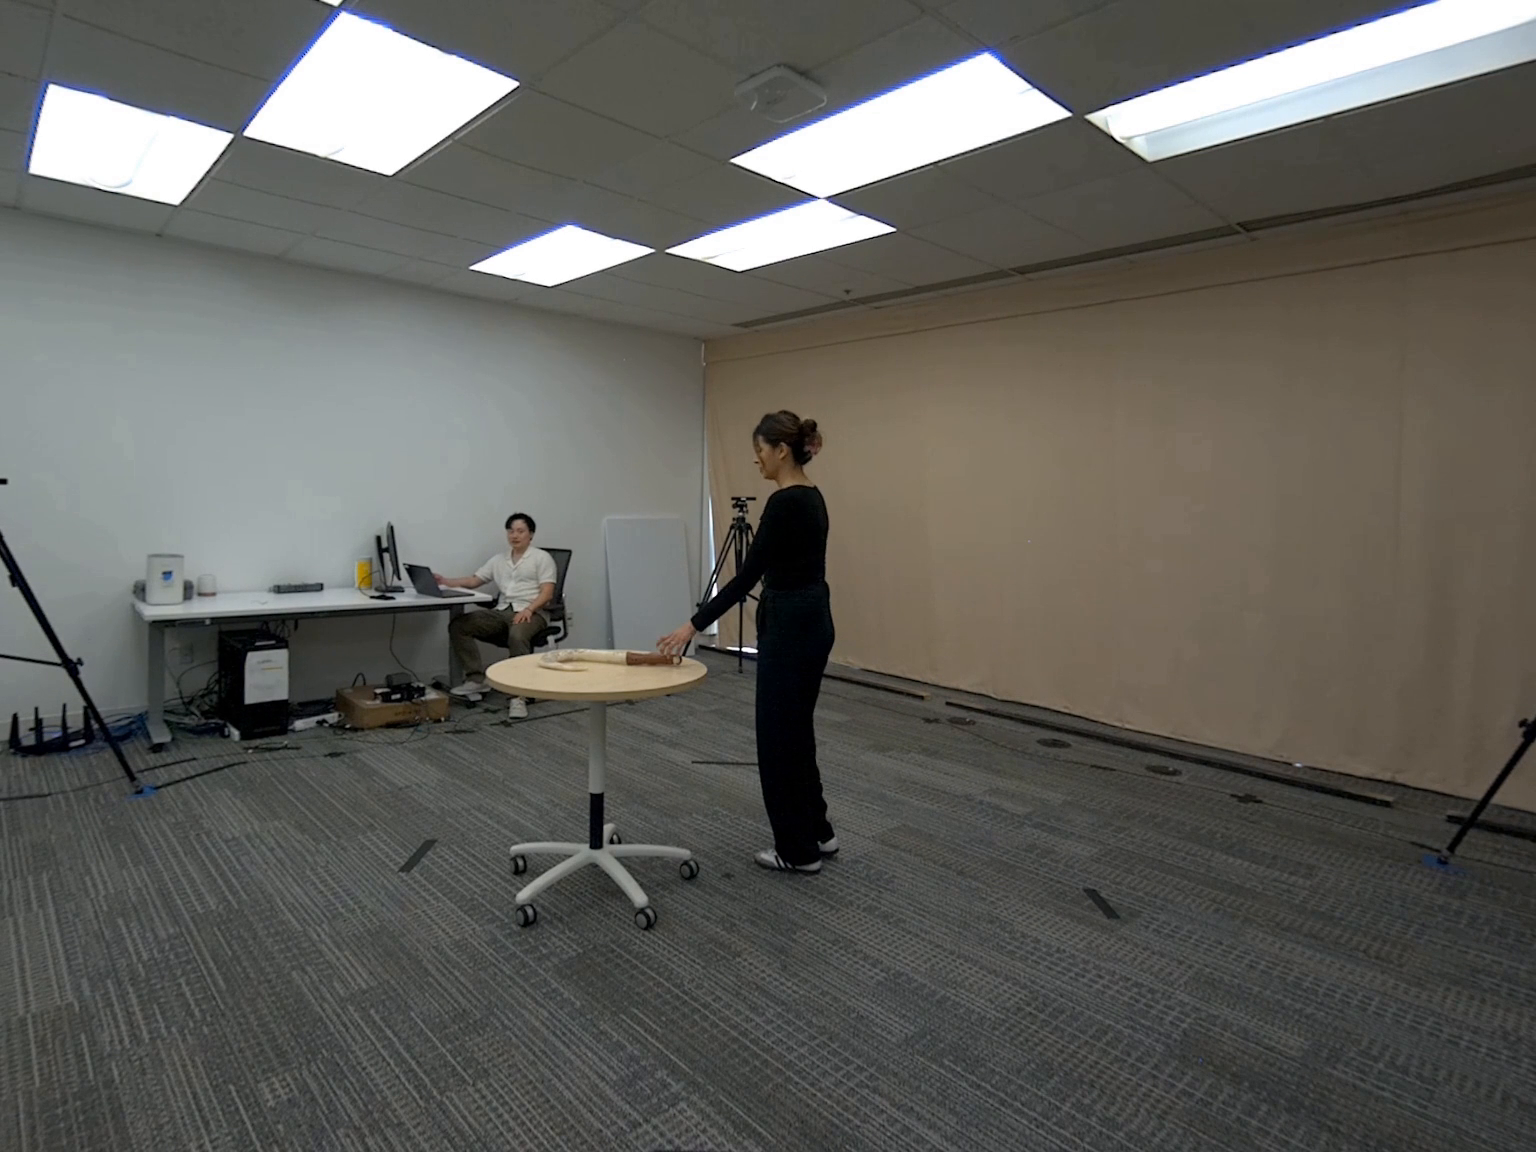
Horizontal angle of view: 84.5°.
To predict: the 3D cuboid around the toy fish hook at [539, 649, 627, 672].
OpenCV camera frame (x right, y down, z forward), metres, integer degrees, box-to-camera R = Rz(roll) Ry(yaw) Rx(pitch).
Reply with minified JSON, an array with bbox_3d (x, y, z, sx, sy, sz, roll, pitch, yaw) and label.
[{"bbox_3d":[-0.575,0.307,2.997,0.508,0.048,0.226,0,13,4],"label":"toy fish hook"}]
